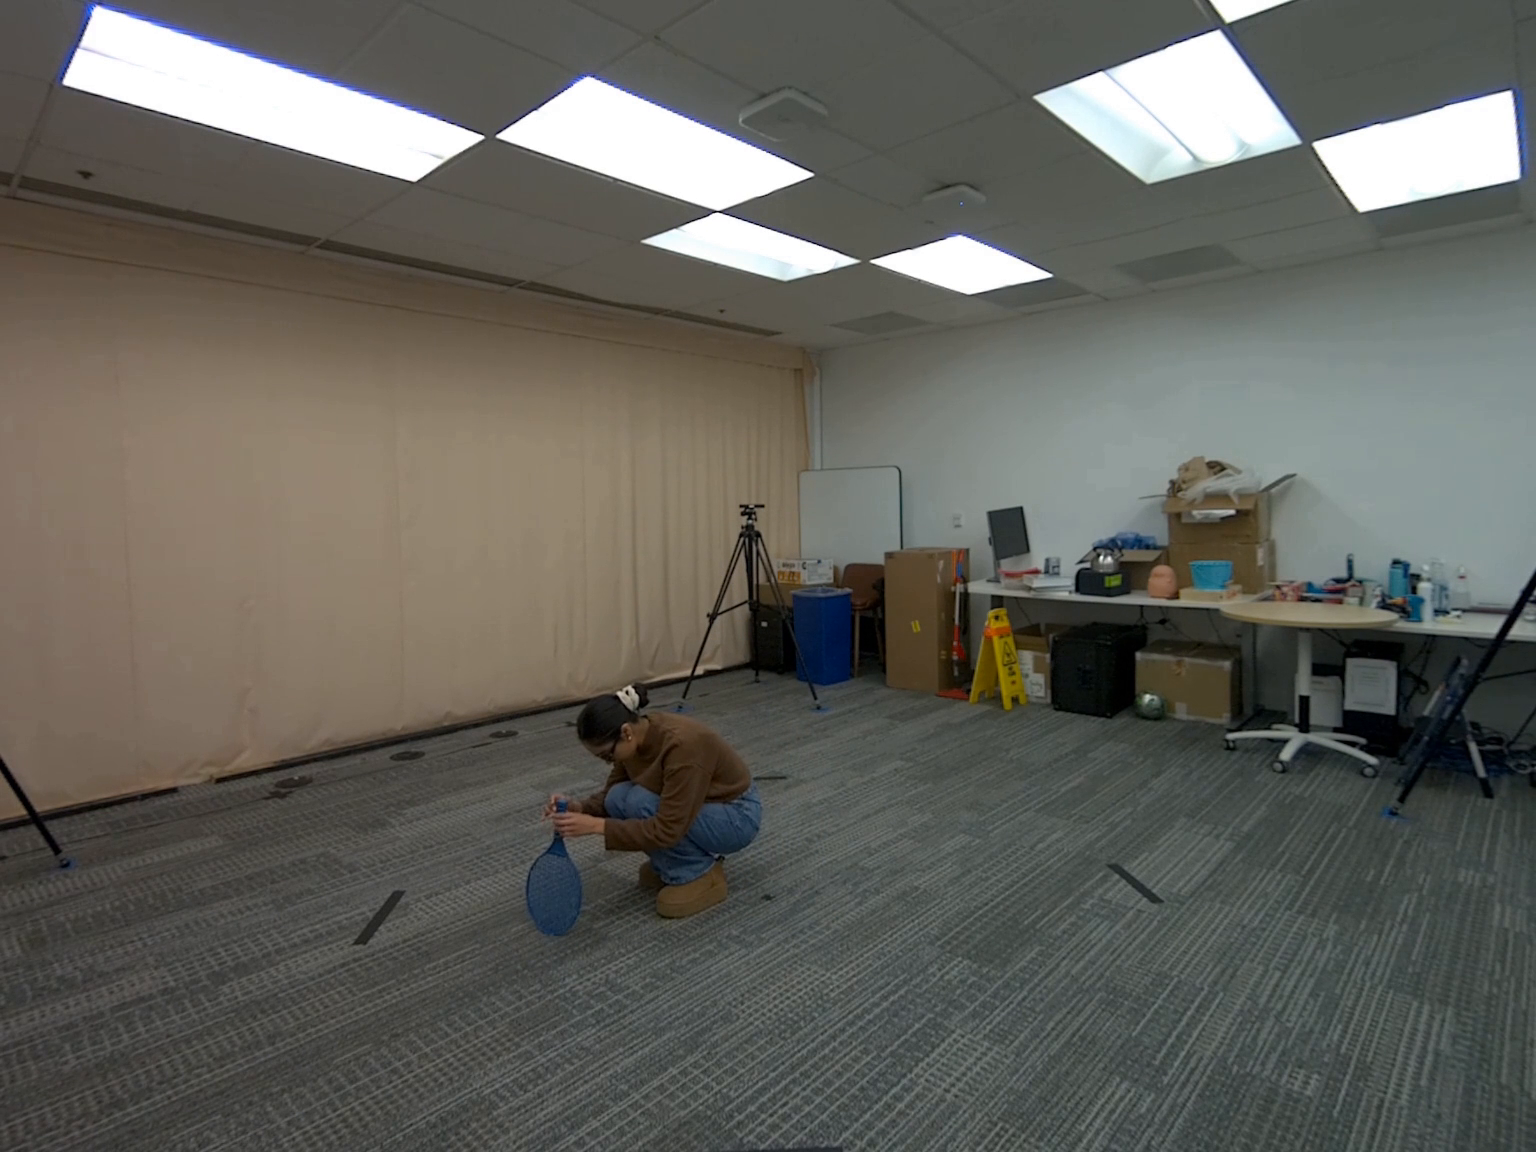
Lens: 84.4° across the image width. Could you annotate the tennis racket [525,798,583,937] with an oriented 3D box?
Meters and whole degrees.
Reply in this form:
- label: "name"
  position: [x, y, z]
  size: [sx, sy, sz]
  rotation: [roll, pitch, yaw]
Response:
- label: "tennis racket"
  position: [-0.701, 0.960, 2.768]
  size: [0.218, 0.433, 0.031]
  rotation: [6, -2, 19]
